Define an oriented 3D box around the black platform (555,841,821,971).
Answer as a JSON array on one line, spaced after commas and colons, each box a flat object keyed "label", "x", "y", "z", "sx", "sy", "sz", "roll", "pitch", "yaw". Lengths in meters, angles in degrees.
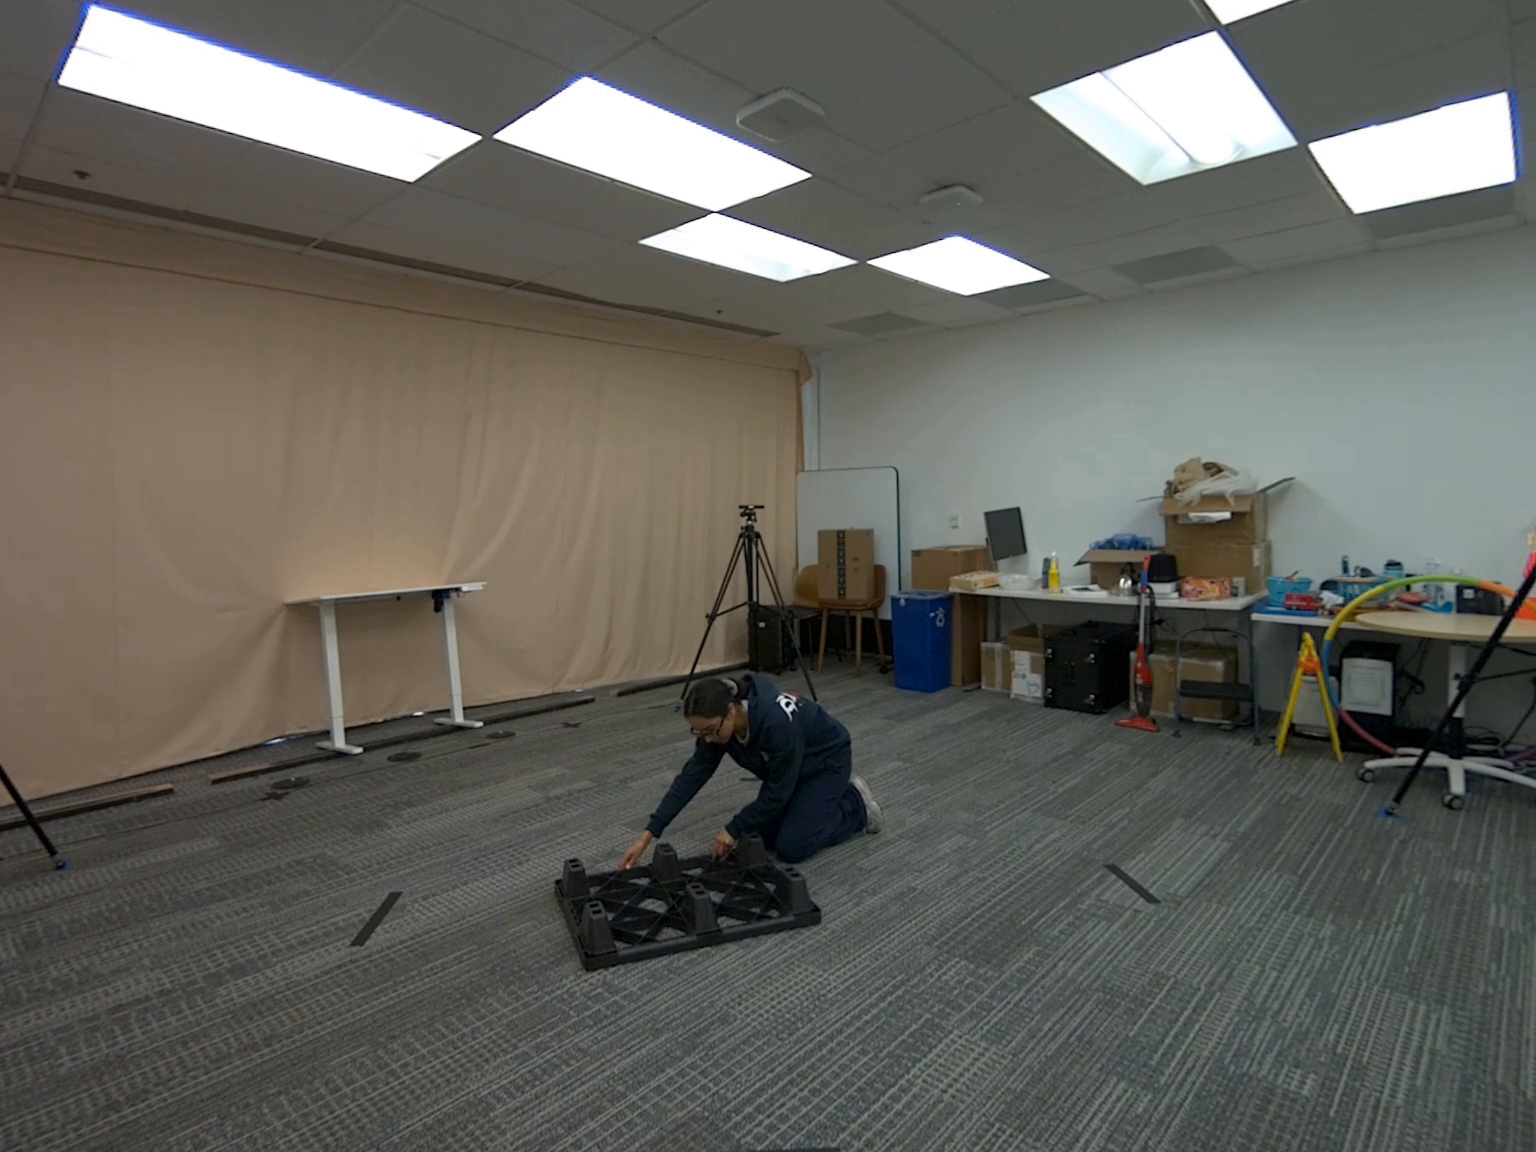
[{"label": "black platform", "x": -0.307, "y": 1.084, "z": 2.939, "sx": 0.789, "sy": 0.143, "sz": 0.619, "roll": -3, "pitch": 5, "yaw": -22}]
